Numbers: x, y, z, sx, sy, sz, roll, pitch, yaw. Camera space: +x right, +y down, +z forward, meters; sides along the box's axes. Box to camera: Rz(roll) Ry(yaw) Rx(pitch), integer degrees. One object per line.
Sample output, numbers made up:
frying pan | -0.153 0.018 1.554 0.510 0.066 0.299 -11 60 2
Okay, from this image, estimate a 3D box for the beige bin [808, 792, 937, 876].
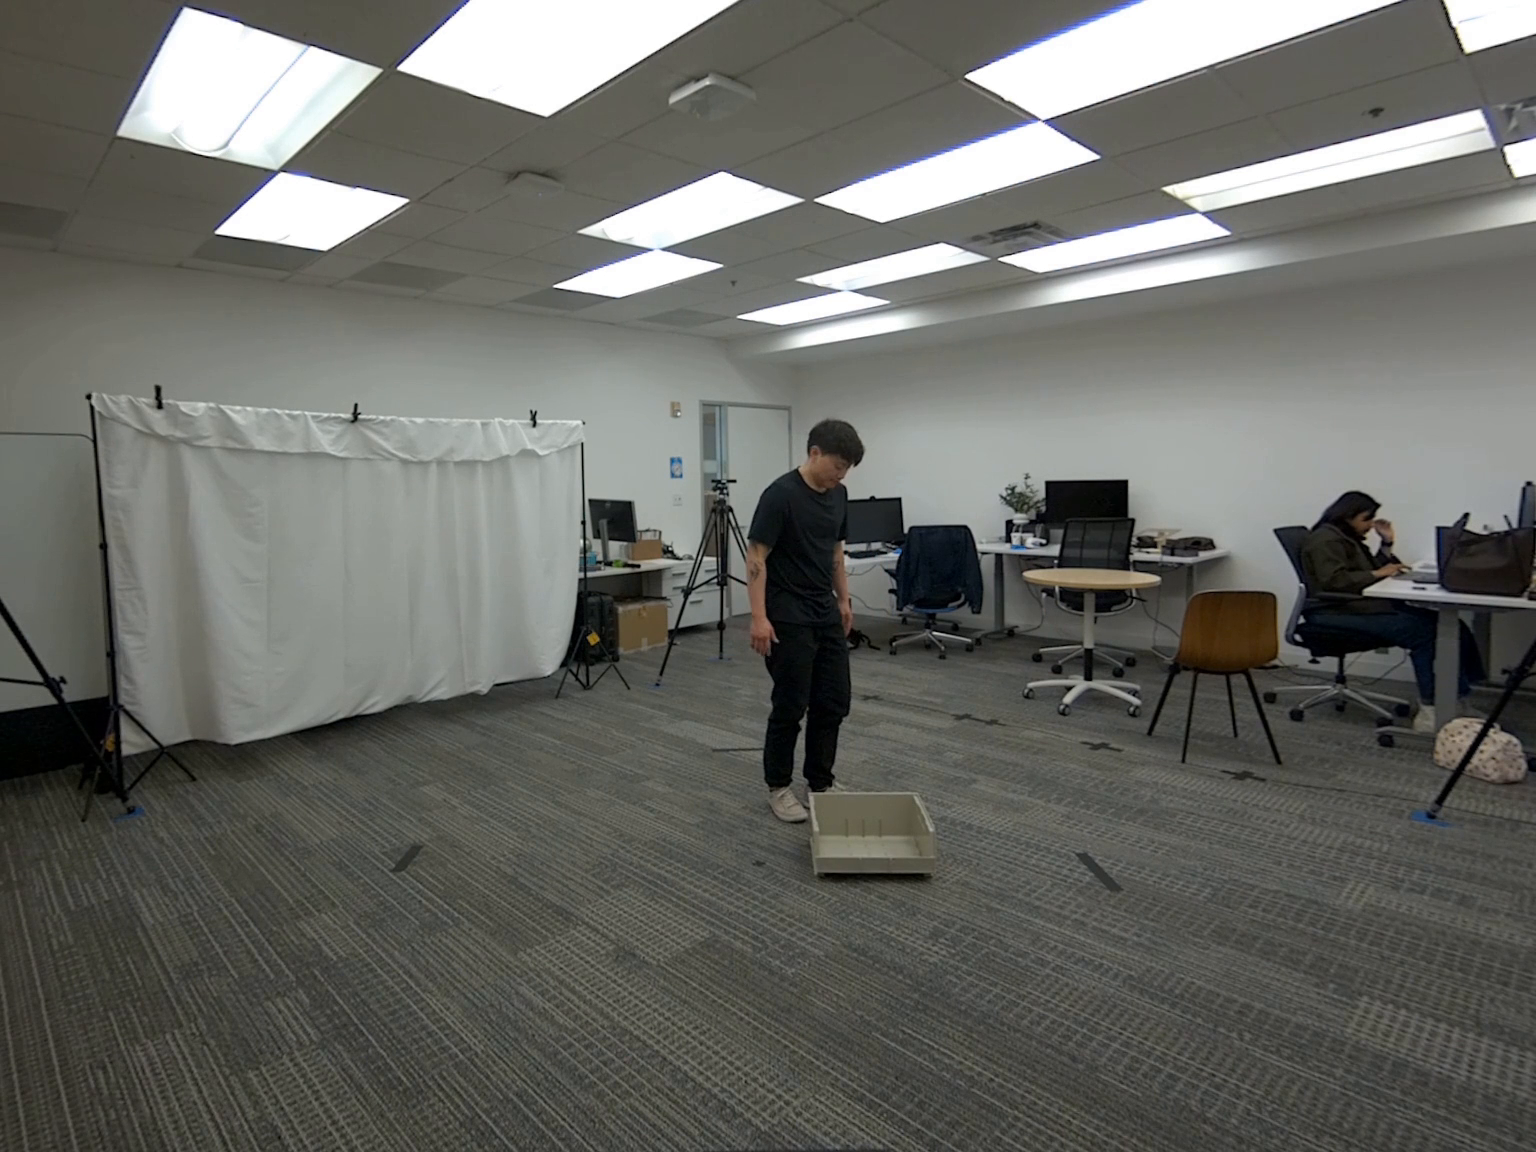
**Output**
beige bin | 0.375 0.954 3.123 0.423 0.188 0.378 -2 5 2
